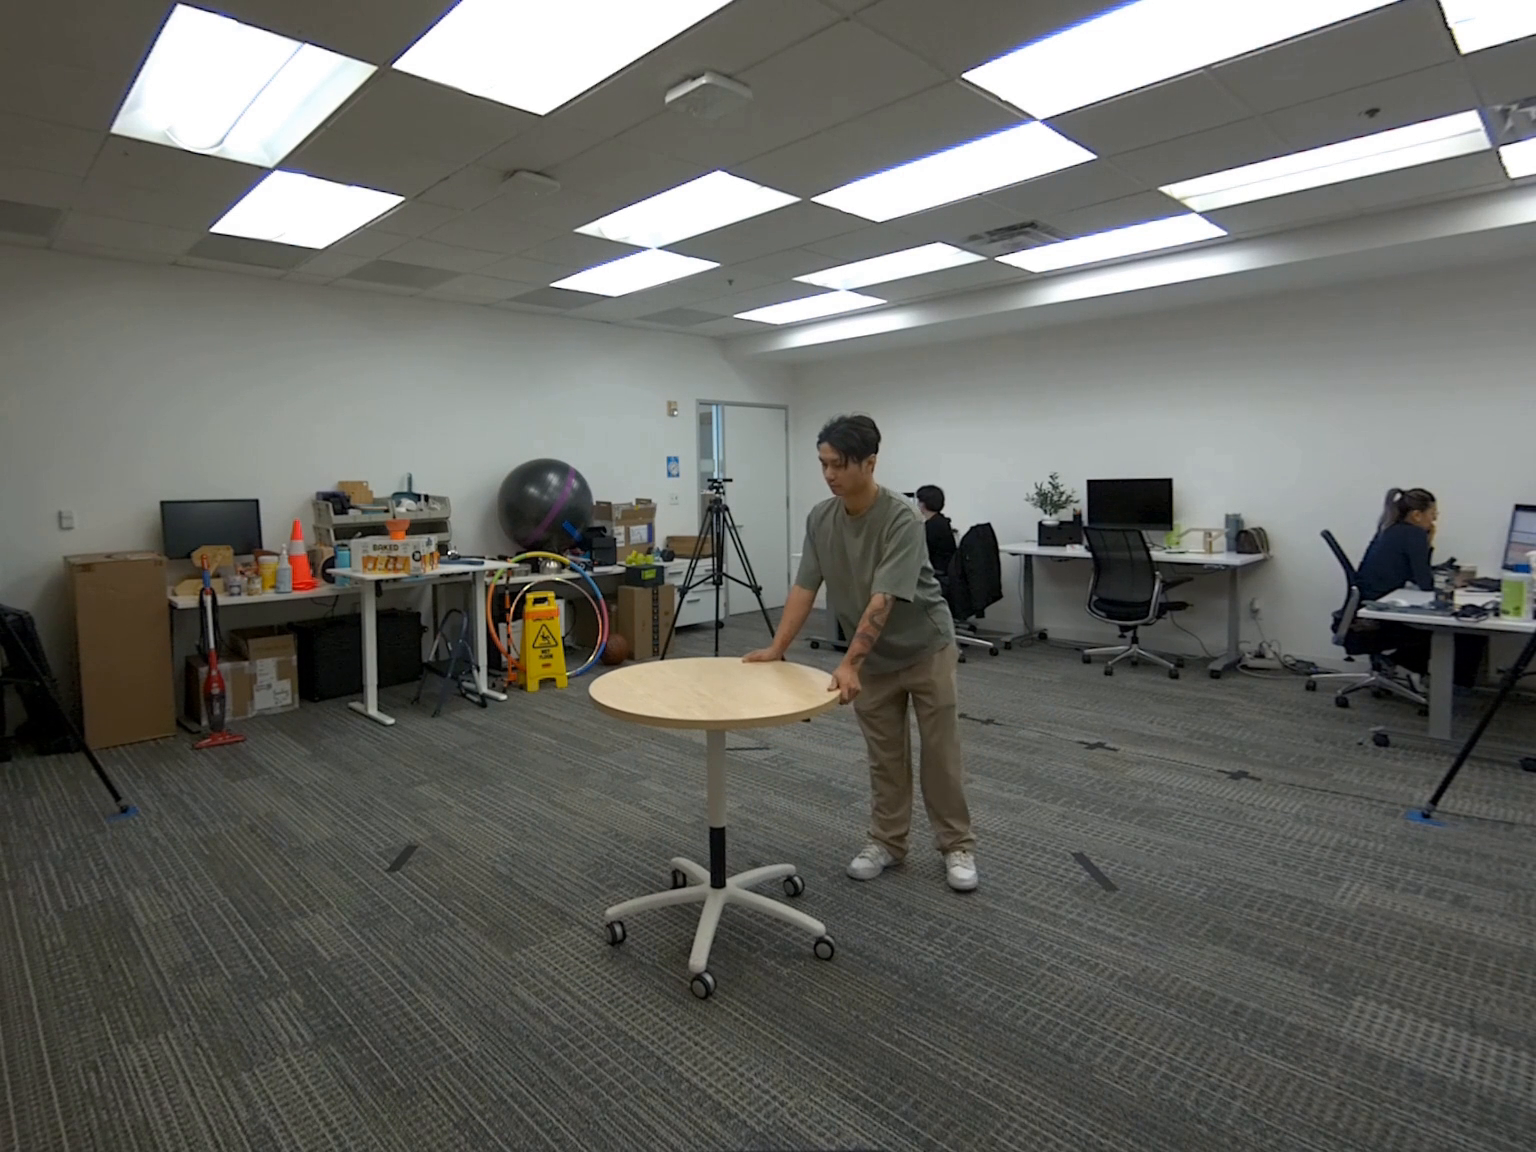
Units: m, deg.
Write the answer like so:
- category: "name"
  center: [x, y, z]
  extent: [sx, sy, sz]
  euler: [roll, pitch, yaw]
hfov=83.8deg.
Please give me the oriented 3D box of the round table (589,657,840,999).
- category: "round table"
  center: [-0.157, 0.715, 2.629]
  extent: [0.784, 0.783, 0.789]
  euler: [-1, 5, -2]
